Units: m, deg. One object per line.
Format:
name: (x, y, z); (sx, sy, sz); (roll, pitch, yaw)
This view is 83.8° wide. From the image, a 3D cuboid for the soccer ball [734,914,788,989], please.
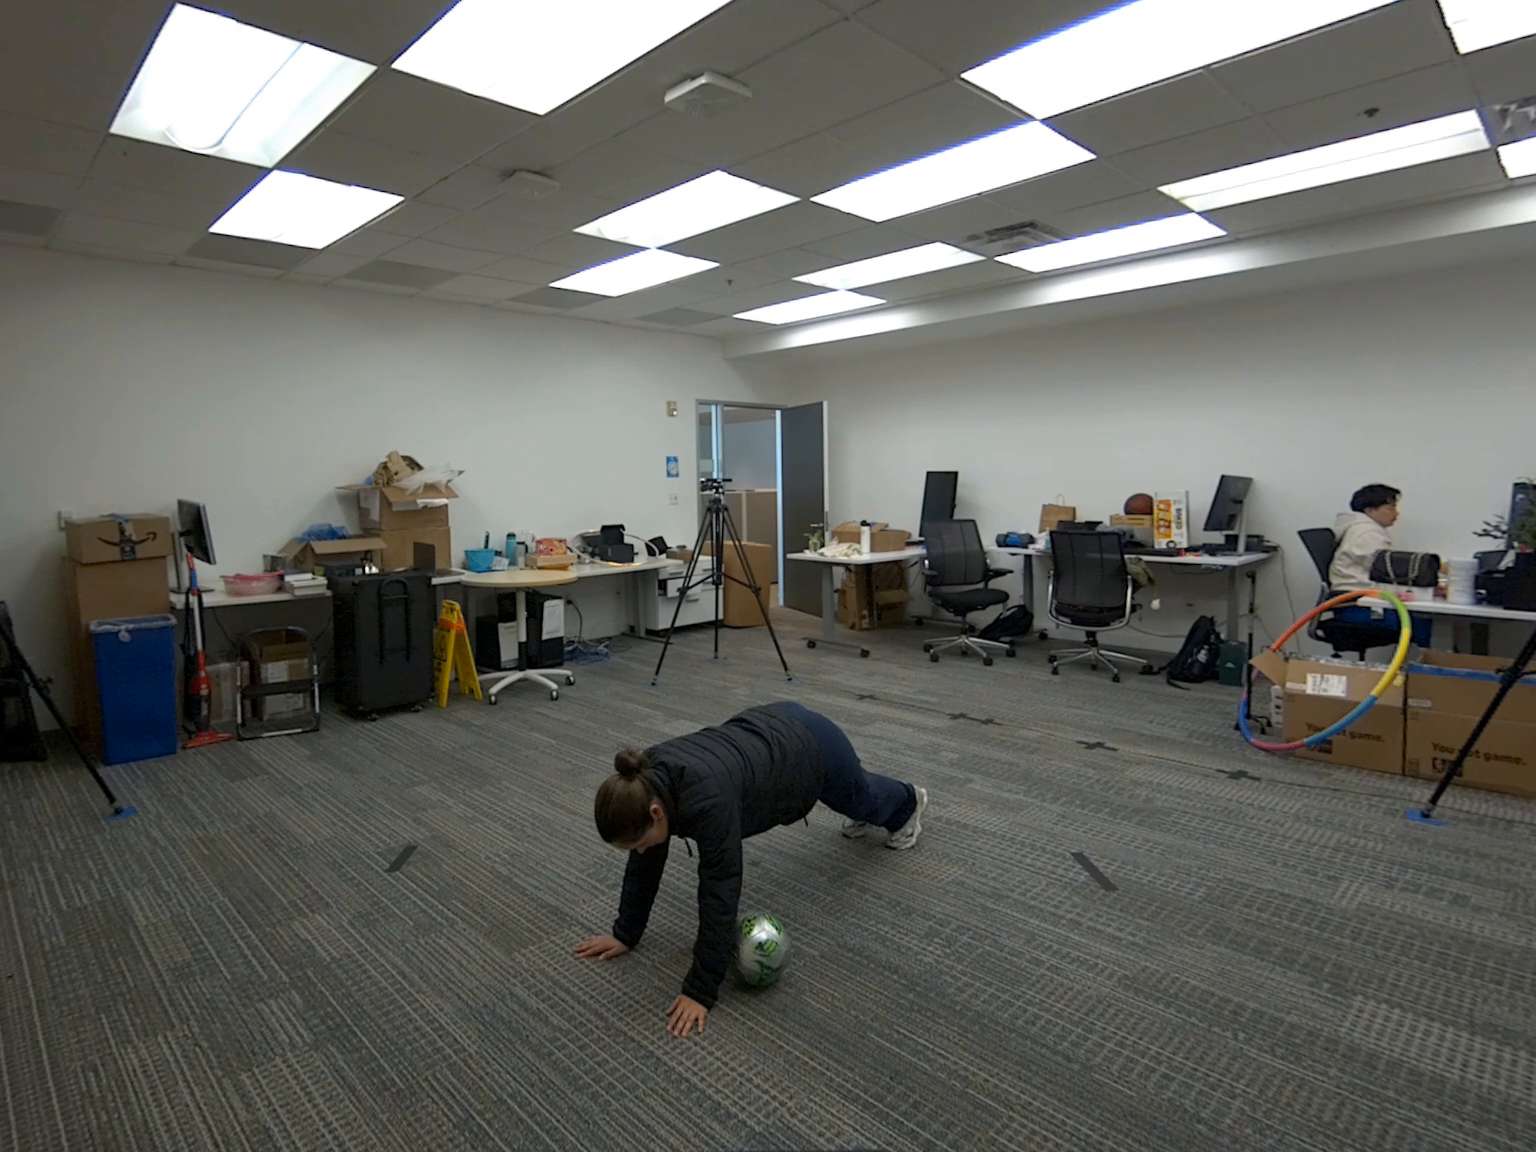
soccer ball: (-0.020, 1.039, 2.377); (0.187, 0.187, 0.188); (-1, 5, -2)
